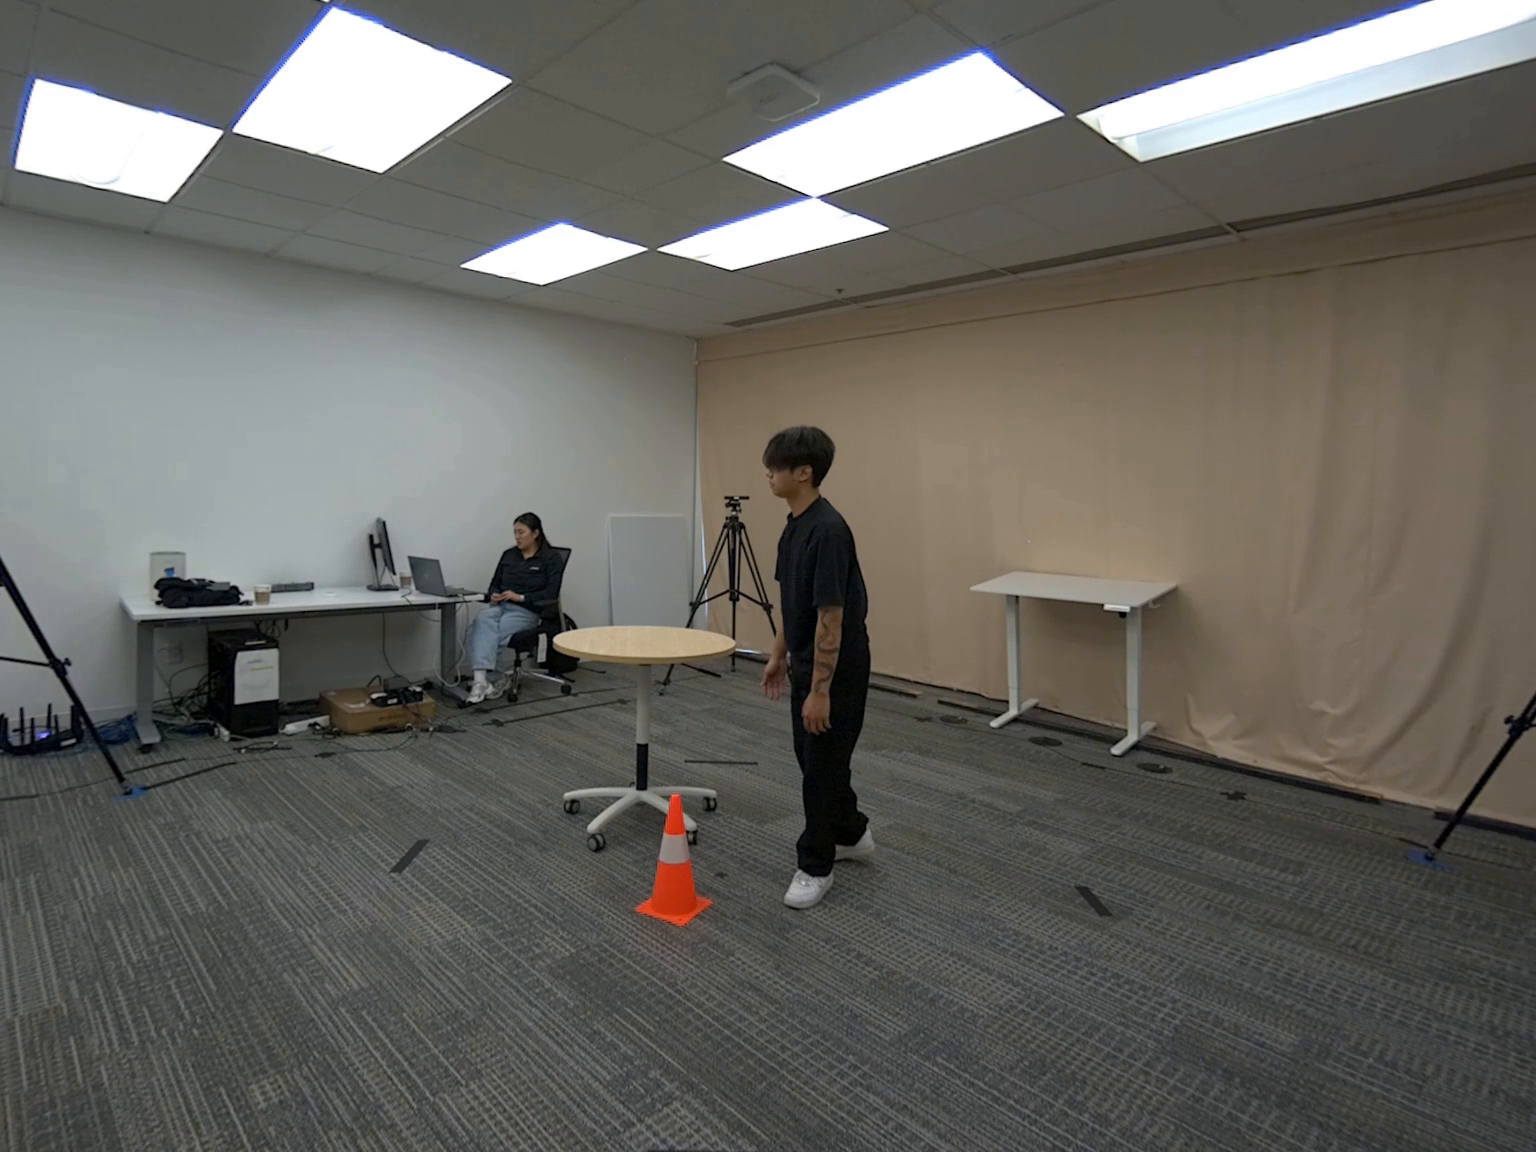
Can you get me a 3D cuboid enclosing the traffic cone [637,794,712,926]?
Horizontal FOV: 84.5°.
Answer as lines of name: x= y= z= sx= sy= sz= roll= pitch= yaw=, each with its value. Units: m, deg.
traffic cone: x=-0.313 y=0.938 z=2.856 sx=0.207 sy=0.383 sz=0.201 roll=5 pitch=4 yaw=27
